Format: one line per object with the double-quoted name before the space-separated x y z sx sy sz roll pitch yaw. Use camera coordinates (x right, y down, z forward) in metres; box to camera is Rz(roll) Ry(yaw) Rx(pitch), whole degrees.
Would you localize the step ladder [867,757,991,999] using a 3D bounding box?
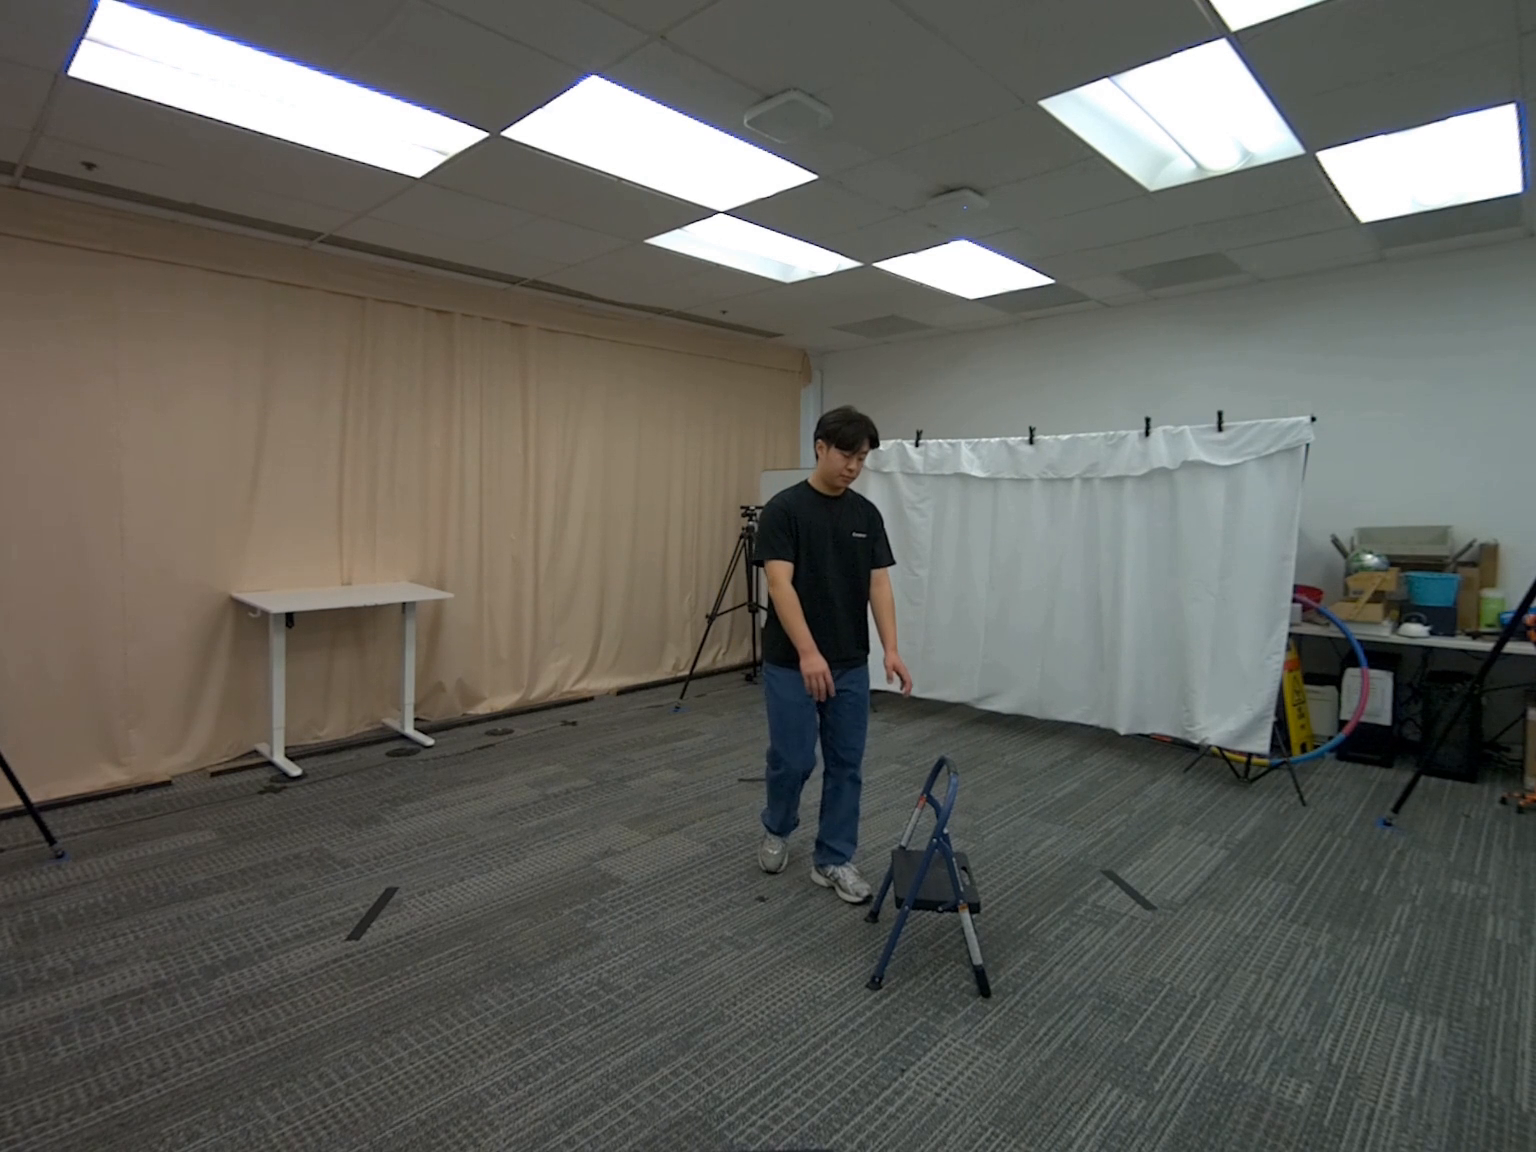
"step ladder" 0.488 0.876 2.586 0.352 0.604 0.428 0 4 6
